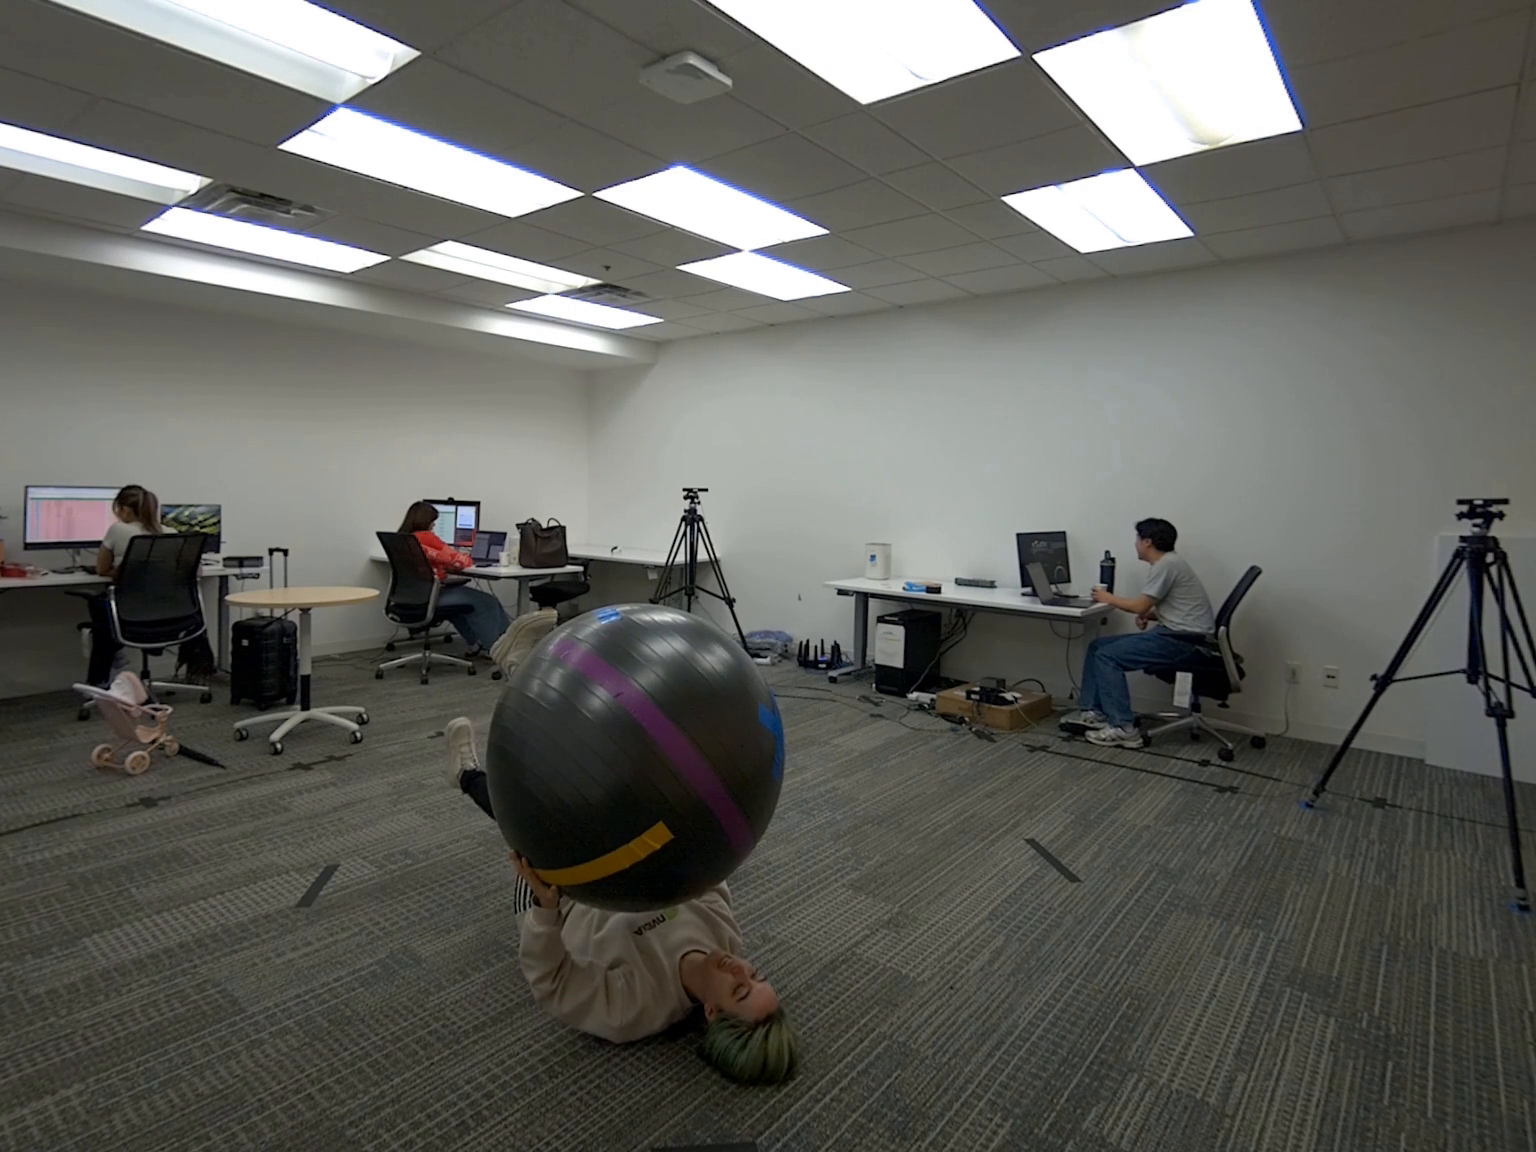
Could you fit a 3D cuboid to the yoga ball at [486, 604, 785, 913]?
[{"bbox_3d":[-0.331,0.450,2.184,0.757,0.755,0.762,1,4,-2],"label":"yoga ball"}]
